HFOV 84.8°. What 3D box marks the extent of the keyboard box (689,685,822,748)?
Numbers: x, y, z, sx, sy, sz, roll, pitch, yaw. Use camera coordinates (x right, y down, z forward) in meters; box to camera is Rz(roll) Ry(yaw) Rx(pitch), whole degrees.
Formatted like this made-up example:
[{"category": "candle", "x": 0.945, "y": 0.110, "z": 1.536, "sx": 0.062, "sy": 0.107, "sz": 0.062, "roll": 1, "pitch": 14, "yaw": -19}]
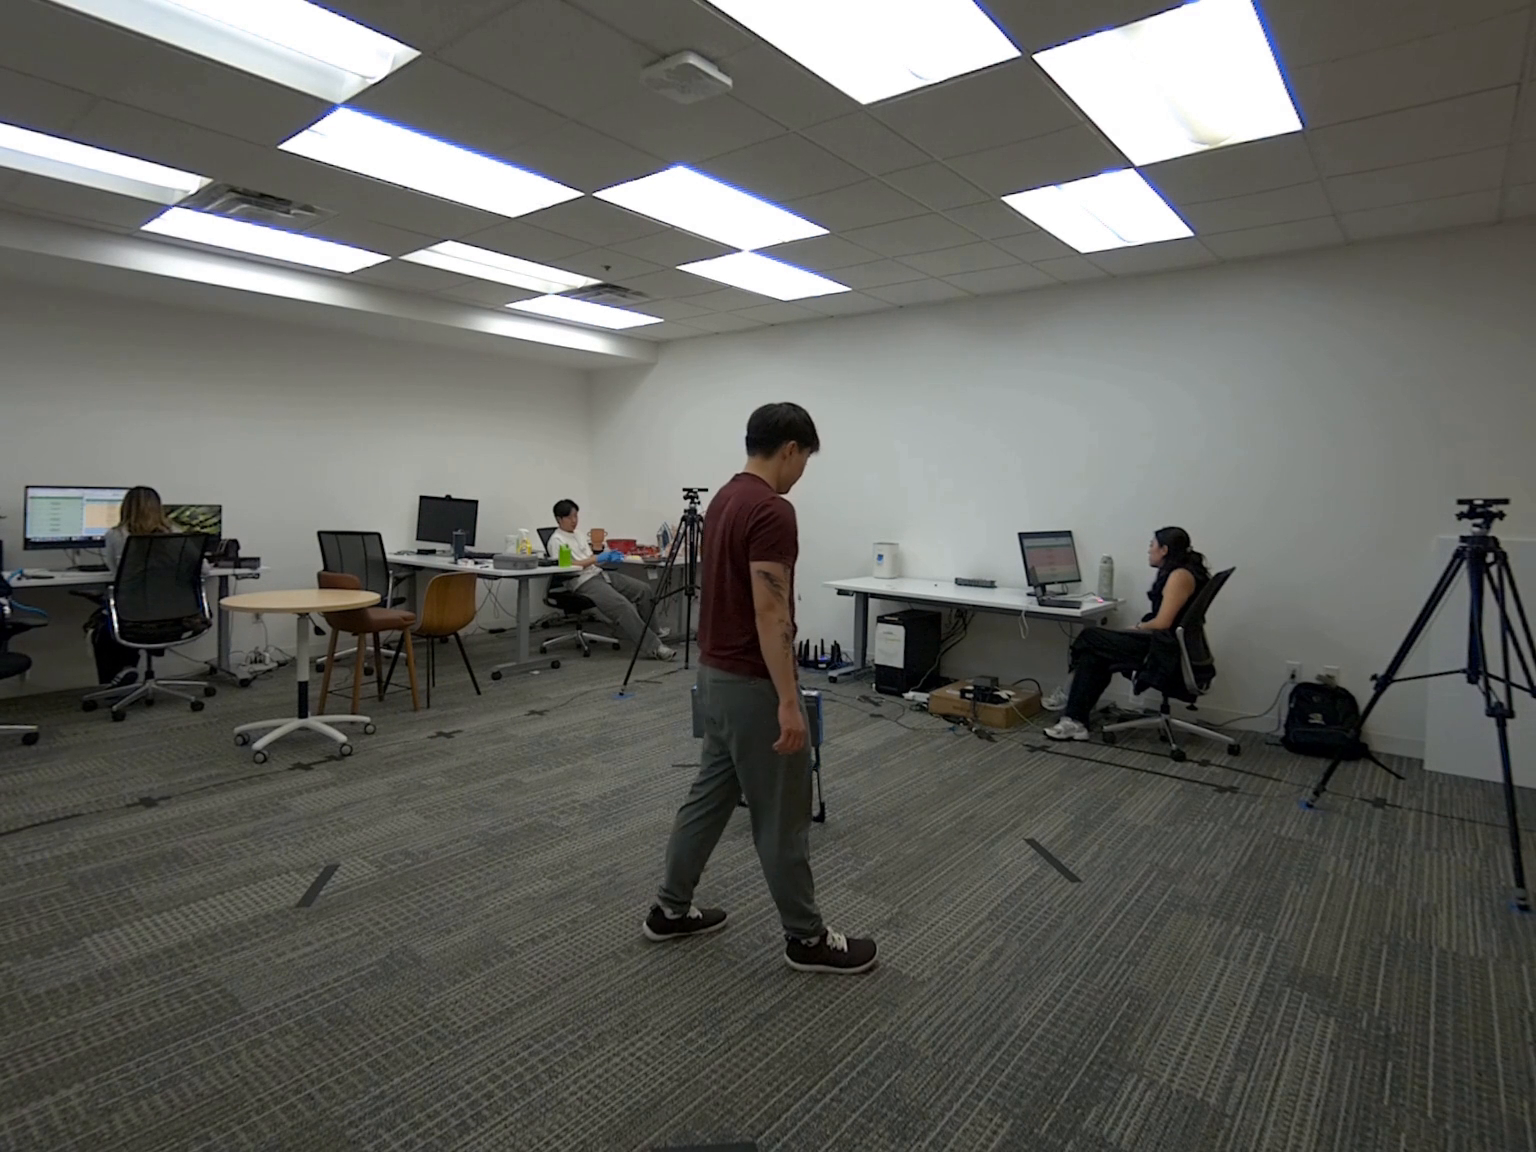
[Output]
[{"category": "keyboard box", "x": -0.049, "y": 0.454, "z": 2.819, "sx": 0.445, "sy": 0.175, "sz": 0.058, "roll": 0, "pitch": 6, "yaw": 19}]
